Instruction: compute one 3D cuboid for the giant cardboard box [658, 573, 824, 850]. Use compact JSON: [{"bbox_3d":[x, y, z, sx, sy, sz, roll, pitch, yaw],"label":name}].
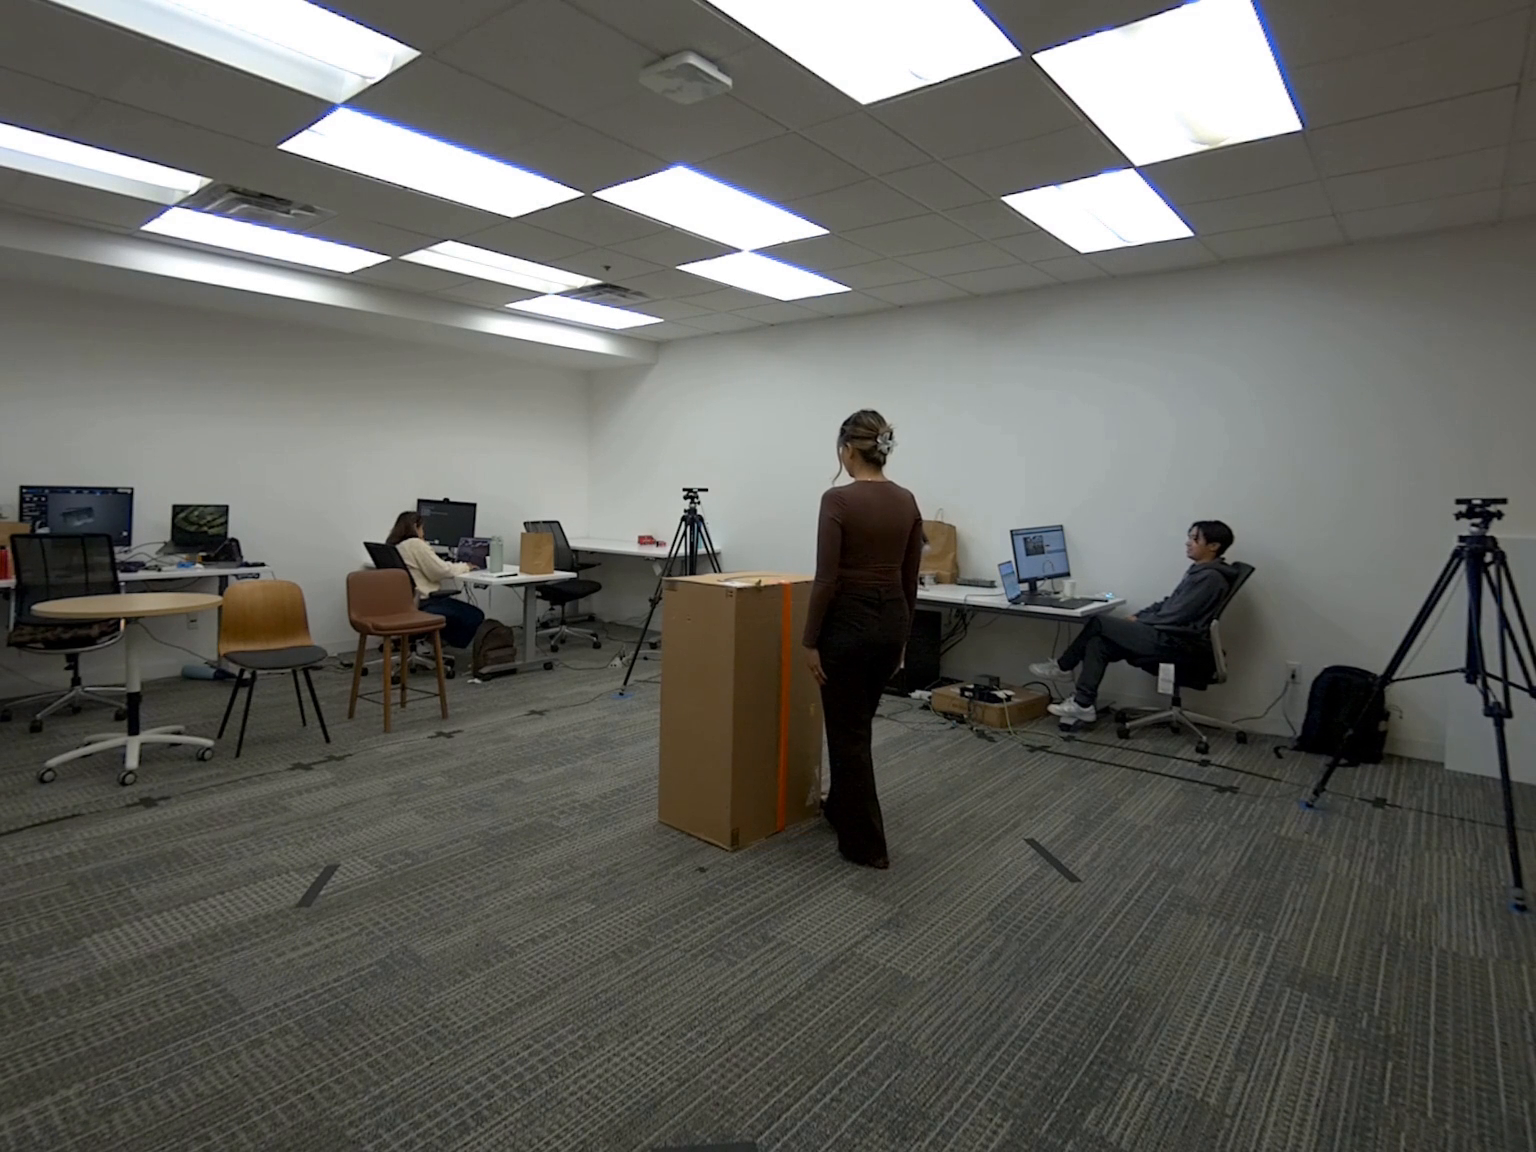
[{"bbox_3d":[-0.118,0.513,3.586,0.462,1.024,0.566,5,5,43],"label":"giant cardboard box"}]
